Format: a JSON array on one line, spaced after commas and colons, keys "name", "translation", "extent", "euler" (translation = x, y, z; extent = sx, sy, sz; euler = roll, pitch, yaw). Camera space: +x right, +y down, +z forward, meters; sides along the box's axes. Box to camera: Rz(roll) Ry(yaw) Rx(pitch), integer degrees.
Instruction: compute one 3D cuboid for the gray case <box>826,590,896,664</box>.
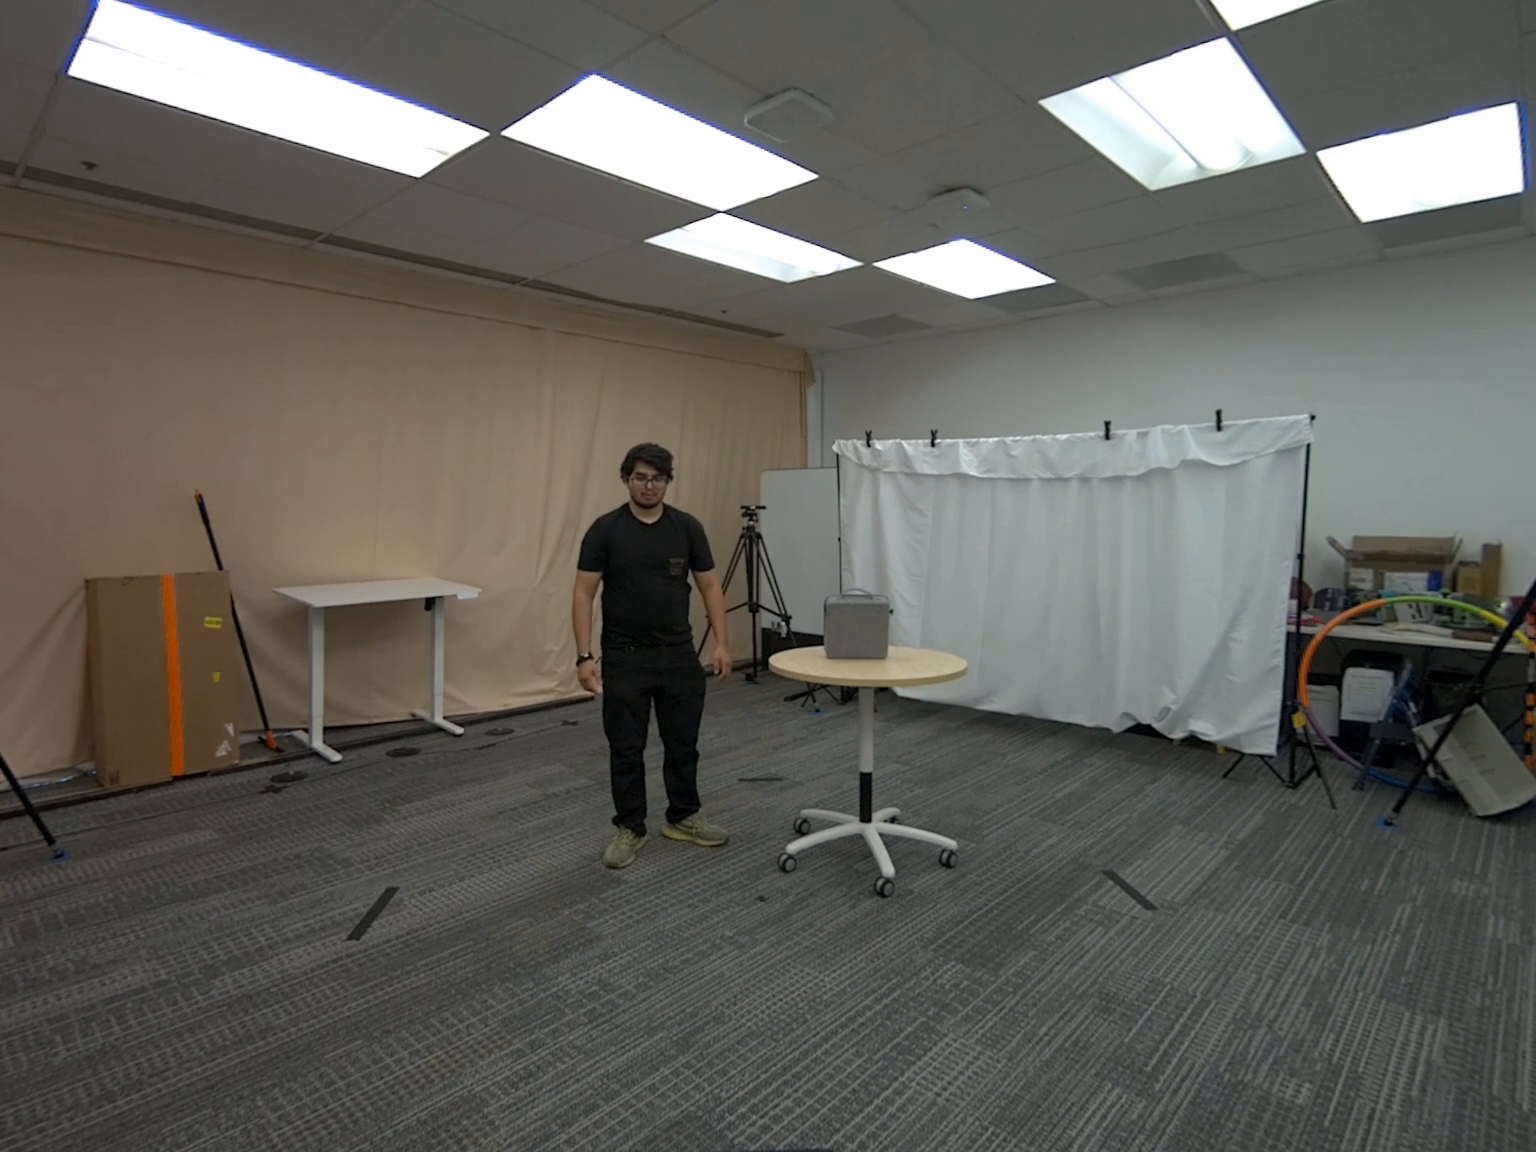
[{"name": "gray case", "translation": [0.362, 0.199, 3.336], "extent": [0.258, 0.258, 0.105], "euler": [-1, 13, 4]}]
